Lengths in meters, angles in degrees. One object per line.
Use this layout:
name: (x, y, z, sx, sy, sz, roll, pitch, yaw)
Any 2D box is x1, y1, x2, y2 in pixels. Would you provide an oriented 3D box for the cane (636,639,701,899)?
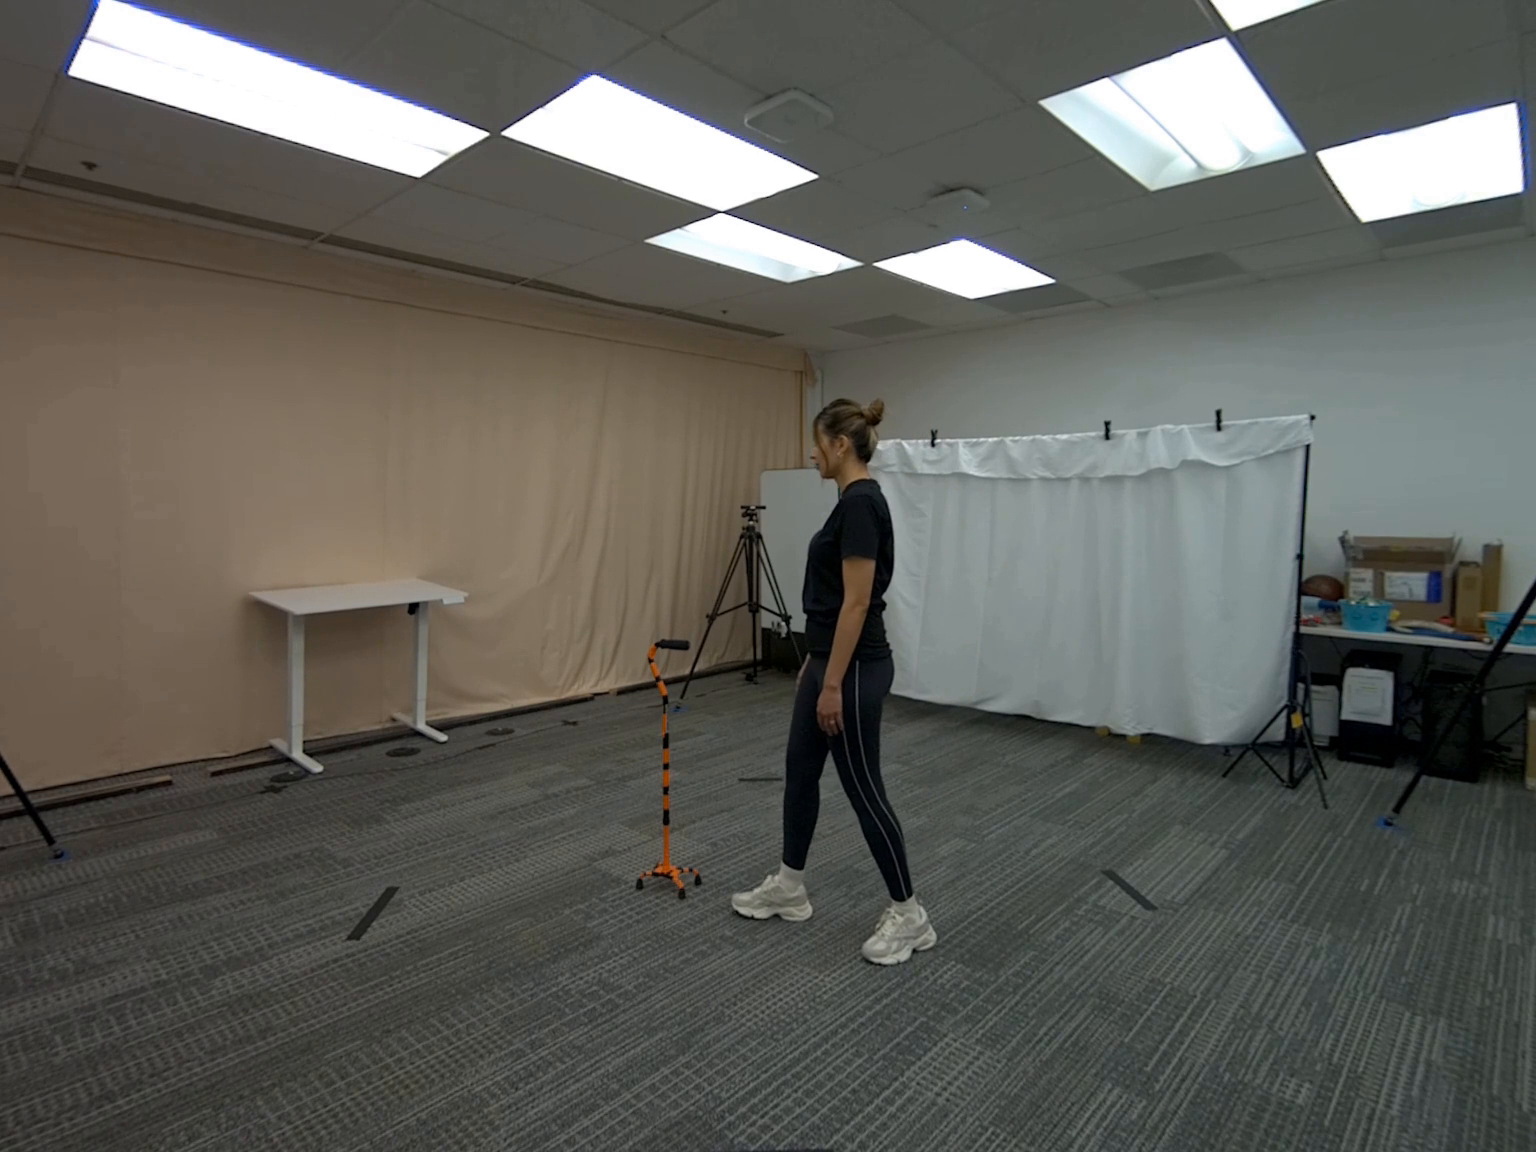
cane: (-0.363, 0.684, 3.067, 0.211, 0.906, 0.148, 1, 3, 23)
